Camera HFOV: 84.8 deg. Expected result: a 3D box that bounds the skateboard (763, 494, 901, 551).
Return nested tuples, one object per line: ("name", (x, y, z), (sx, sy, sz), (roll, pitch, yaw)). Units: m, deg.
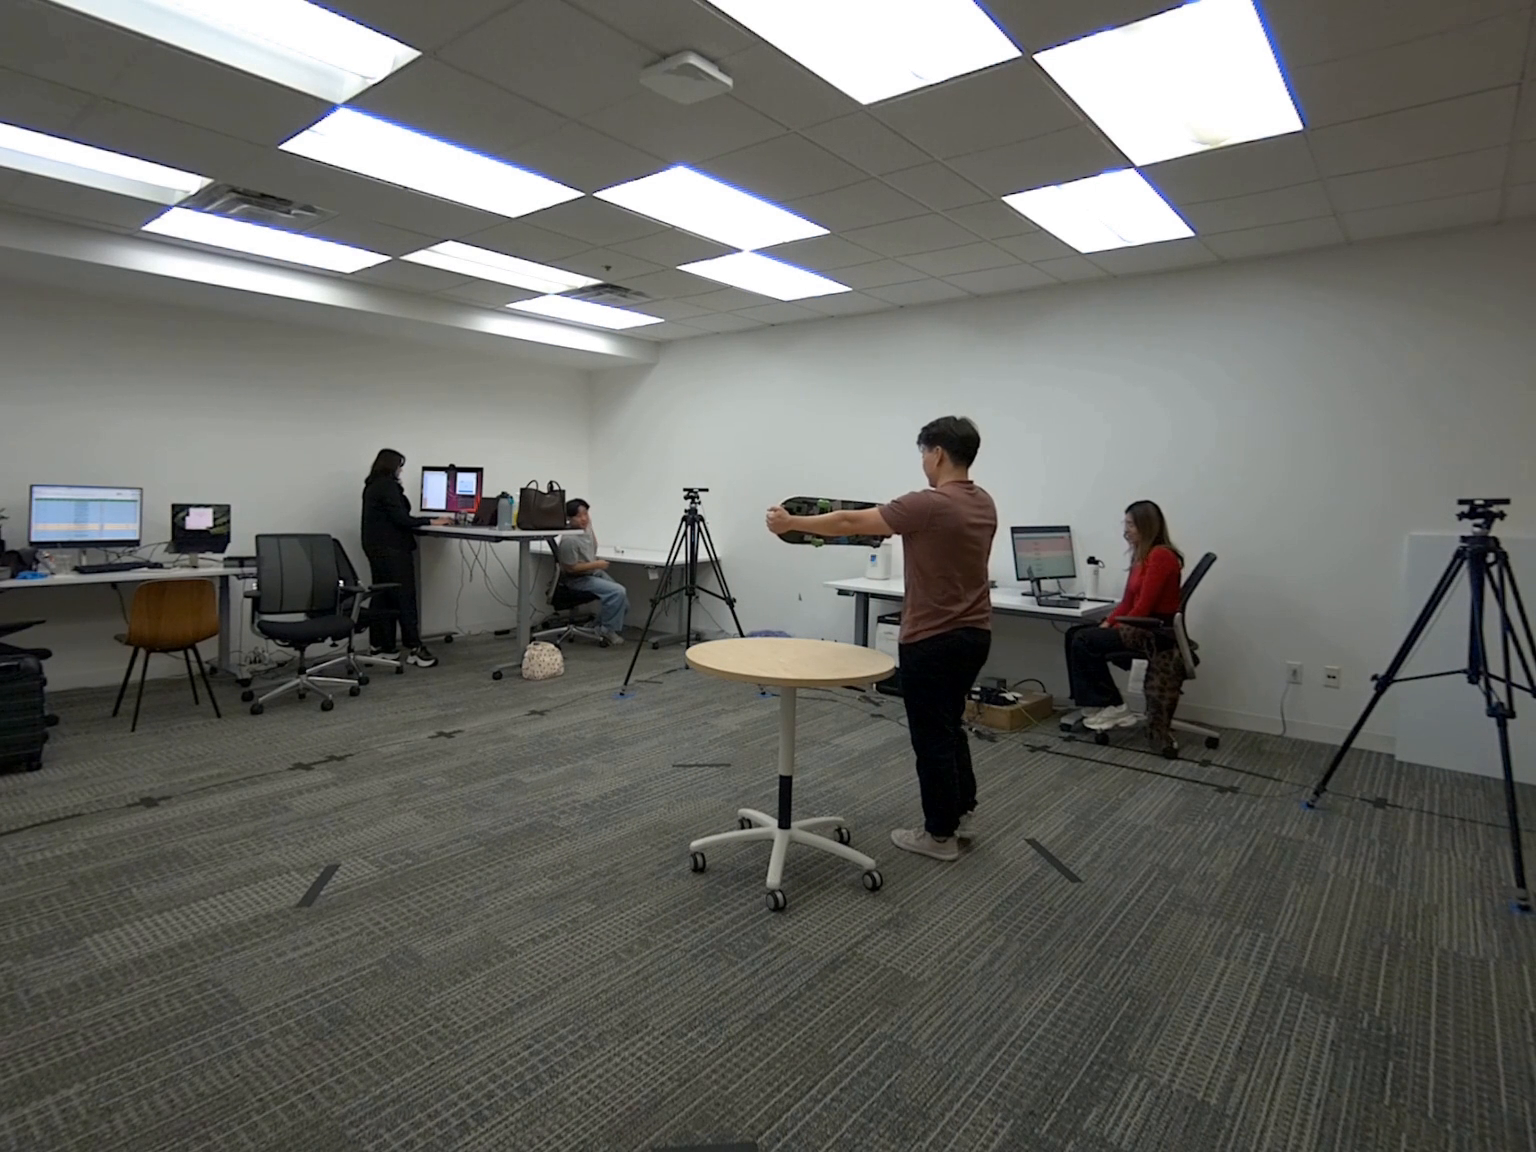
("skateboard", (0.298, -0.218, 3.531), (0.114, 0.192, 0.760), (16, 12, 42))
